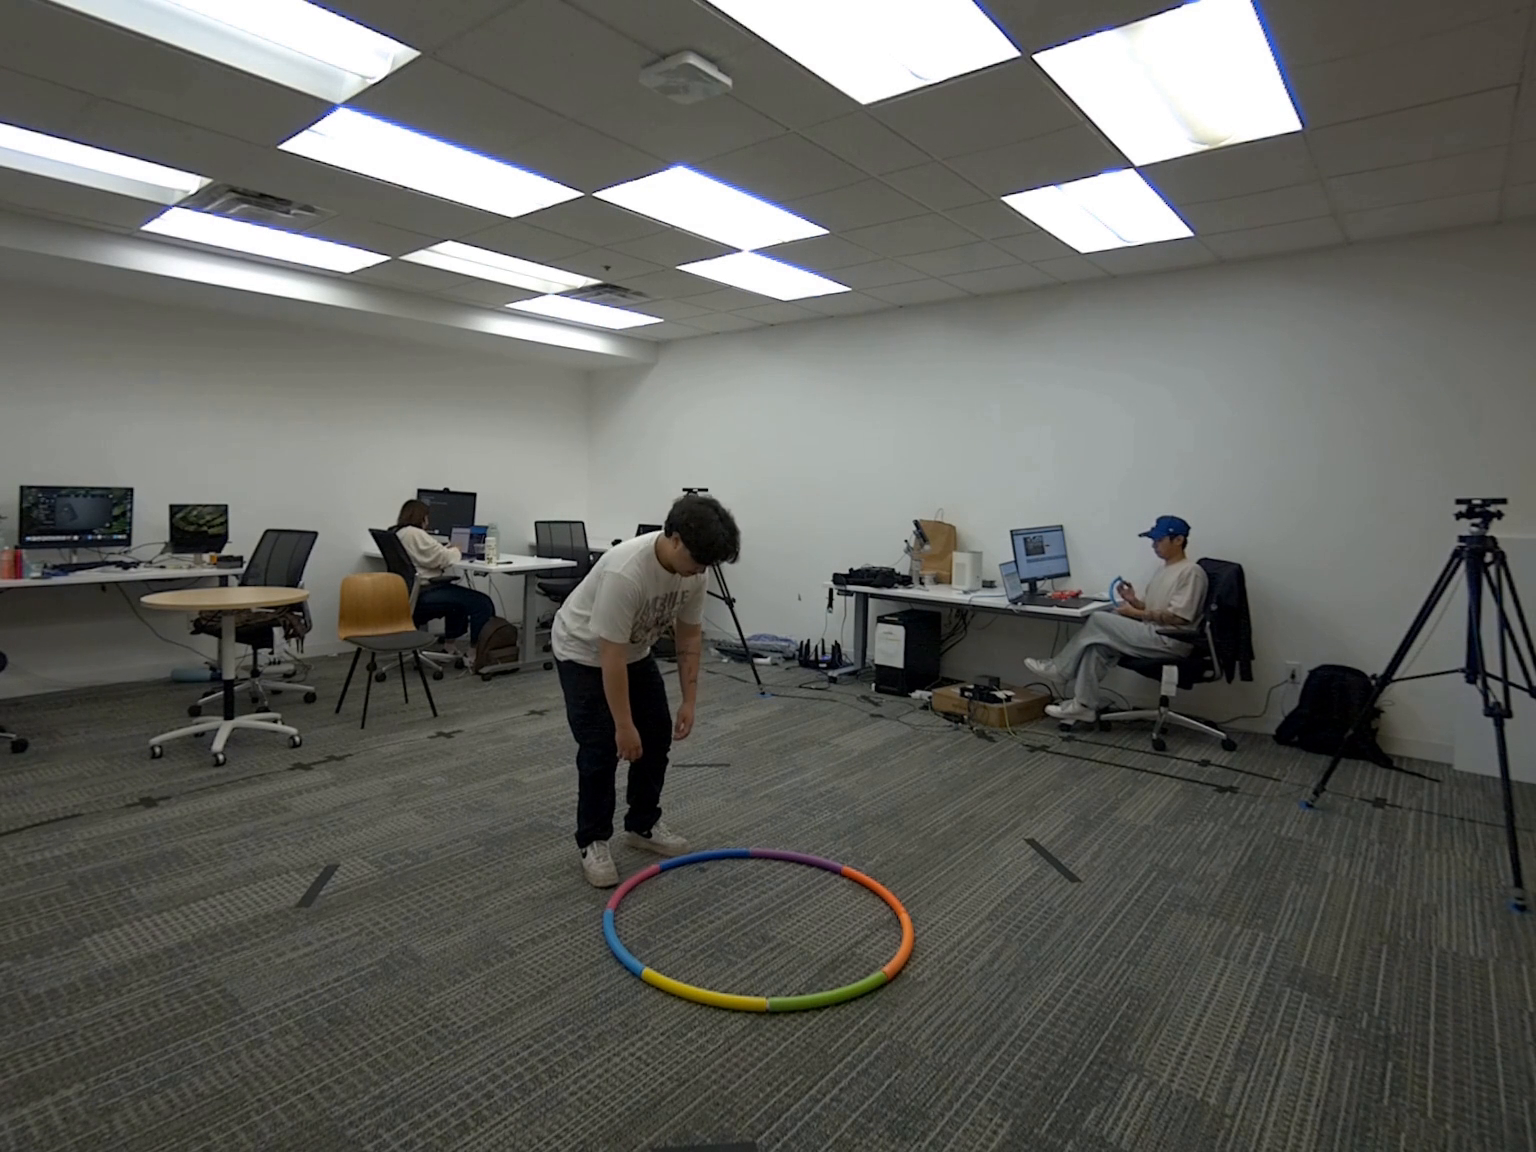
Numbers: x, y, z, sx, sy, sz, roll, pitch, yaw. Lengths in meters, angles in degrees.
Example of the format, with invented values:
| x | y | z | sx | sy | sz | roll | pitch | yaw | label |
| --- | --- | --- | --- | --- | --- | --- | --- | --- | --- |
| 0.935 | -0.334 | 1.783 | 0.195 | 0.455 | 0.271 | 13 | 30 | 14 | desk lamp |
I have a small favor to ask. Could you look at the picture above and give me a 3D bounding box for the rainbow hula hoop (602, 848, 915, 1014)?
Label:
| x | y | z | sx | sy | sz | roll | pitch | yaw | label |
| --- | --- | --- | --- | --- | --- | --- | --- | --- | --- |
| -0.042 | 1.082 | 2.743 | 0.984 | 0.051 | 0.990 | 0 | 5 | -2 | rainbow hula hoop |
